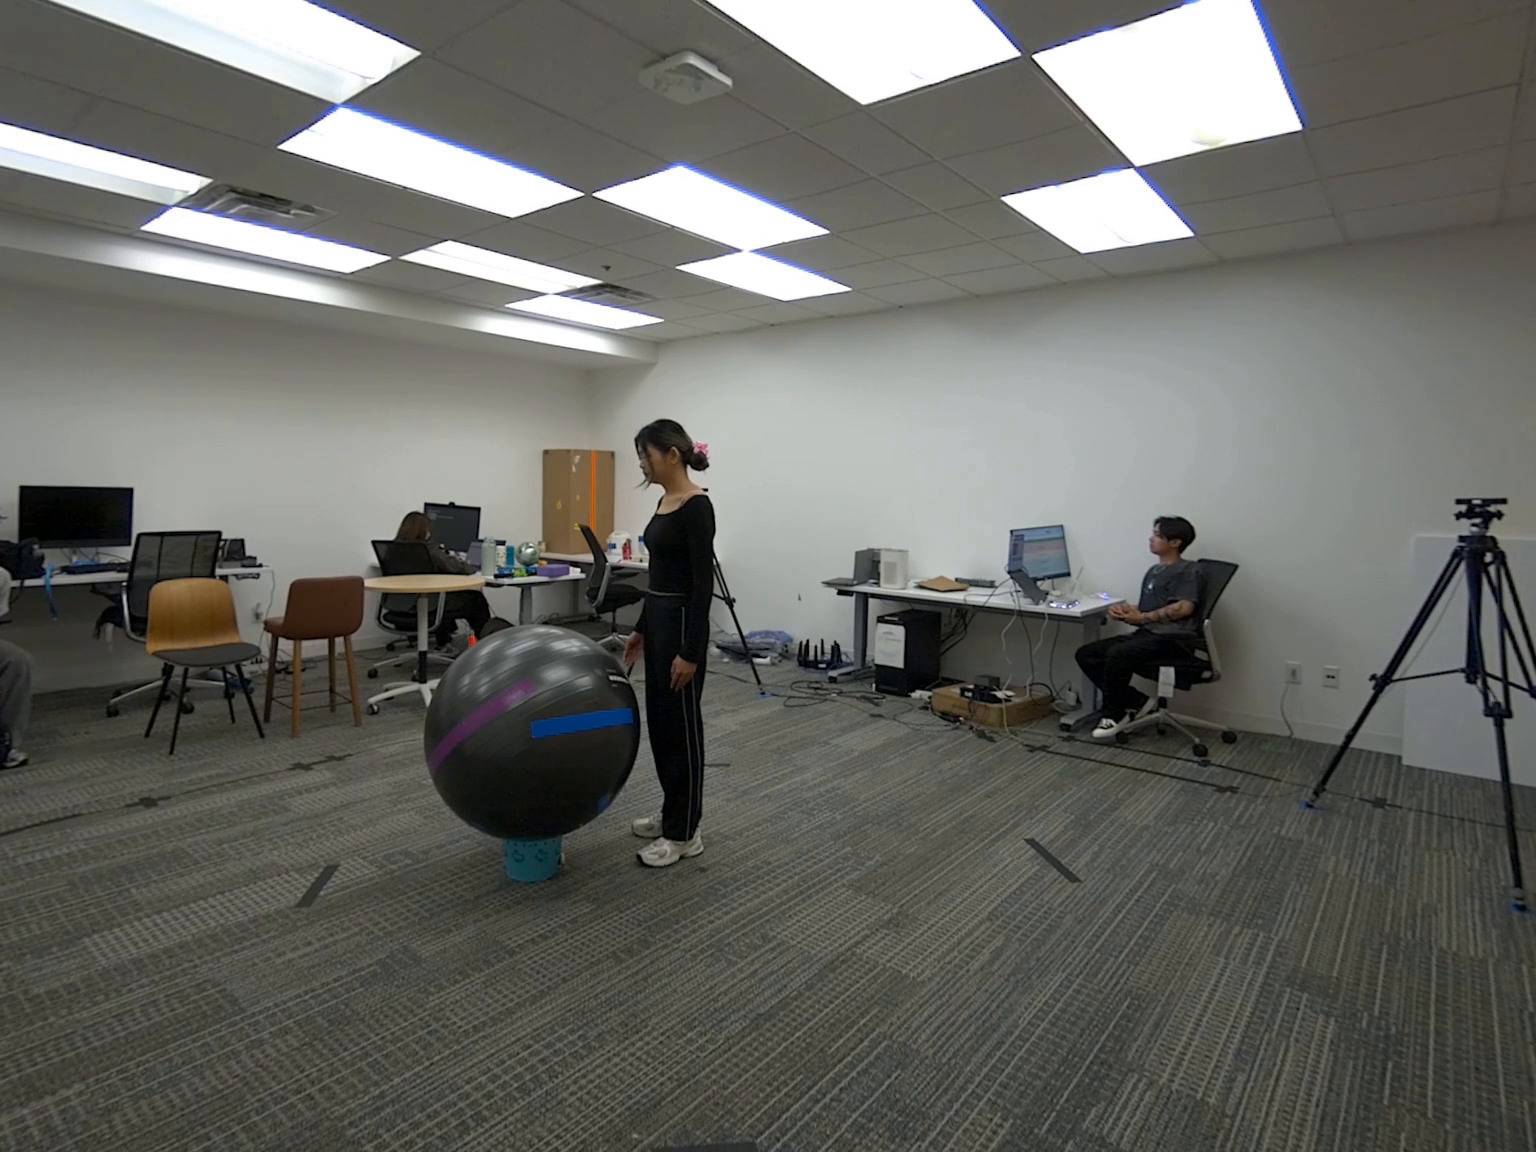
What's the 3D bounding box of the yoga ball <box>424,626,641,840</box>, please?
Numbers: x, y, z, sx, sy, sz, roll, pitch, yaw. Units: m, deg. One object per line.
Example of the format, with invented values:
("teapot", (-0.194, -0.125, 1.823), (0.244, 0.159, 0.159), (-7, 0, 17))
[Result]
("yoga ball", (-0.857, 0.557, 3.054), (0.757, 0.756, 0.762), (1, 4, -2))
